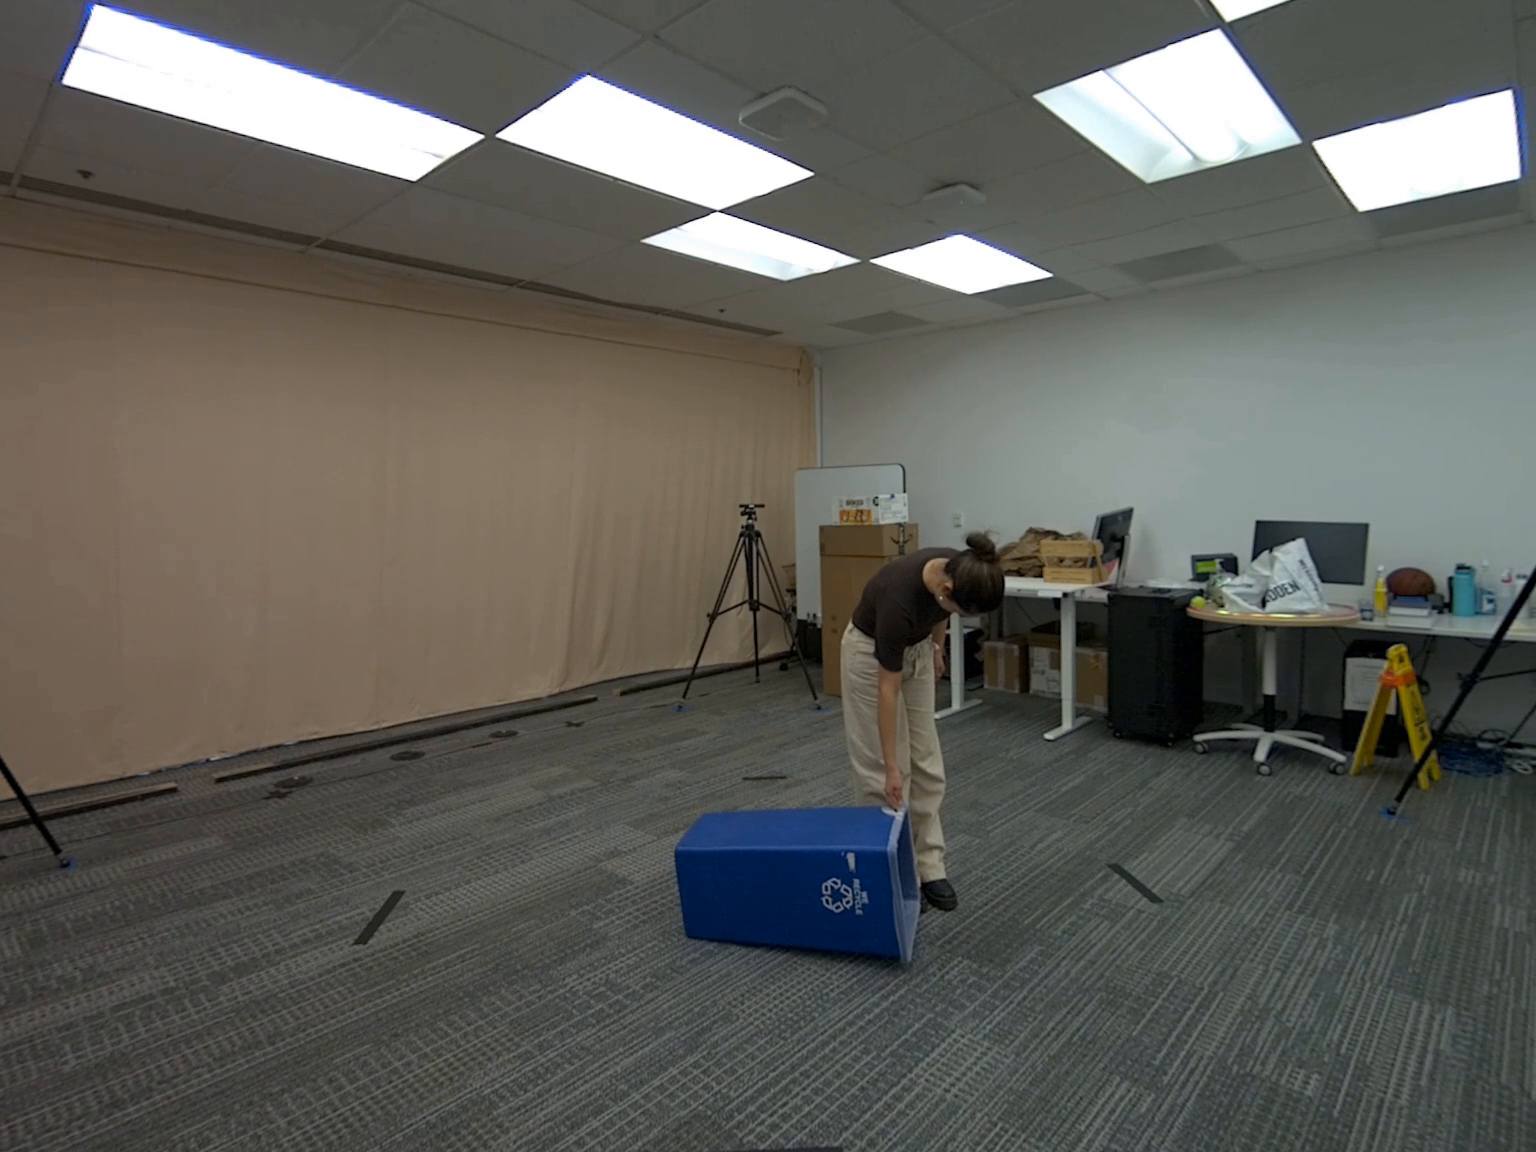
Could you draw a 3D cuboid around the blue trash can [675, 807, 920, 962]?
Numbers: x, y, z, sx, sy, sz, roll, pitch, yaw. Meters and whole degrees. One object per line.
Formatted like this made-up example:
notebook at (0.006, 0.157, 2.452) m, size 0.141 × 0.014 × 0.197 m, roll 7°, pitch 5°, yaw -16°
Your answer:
blue trash can at (0.090, 0.979, 2.719) m, size 0.727 × 0.373 × 0.372 m, roll -6°, pitch 4°, yaw 20°
